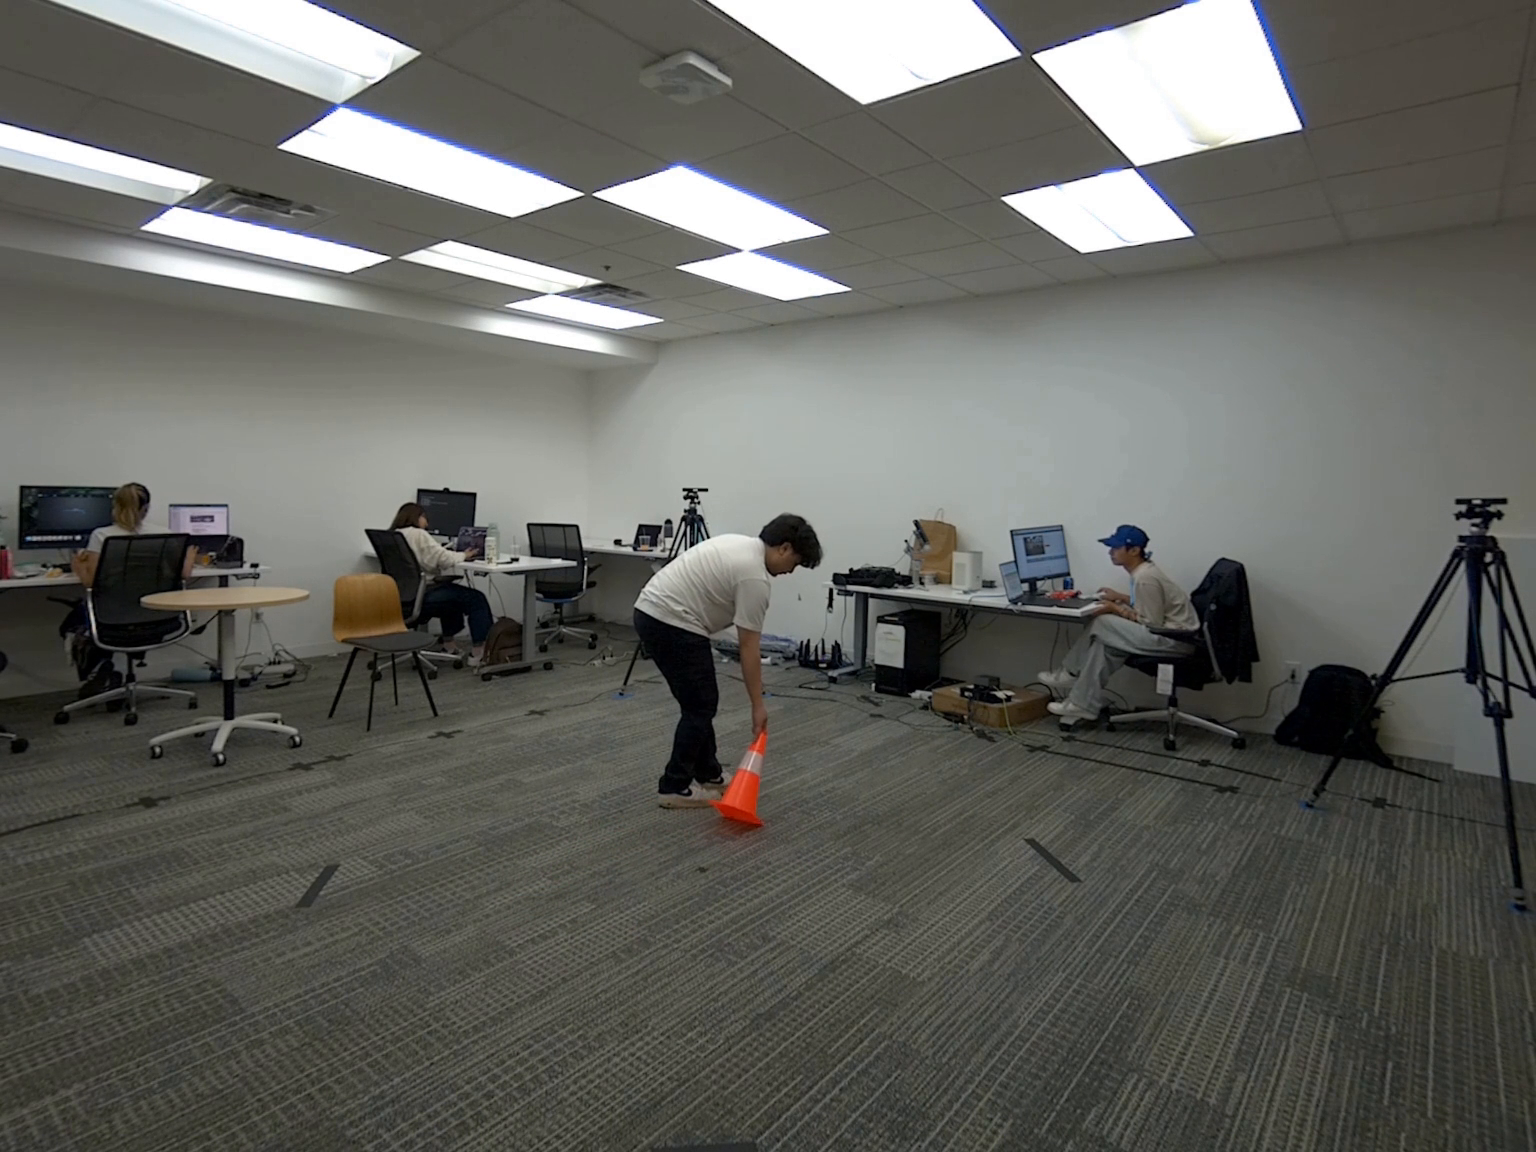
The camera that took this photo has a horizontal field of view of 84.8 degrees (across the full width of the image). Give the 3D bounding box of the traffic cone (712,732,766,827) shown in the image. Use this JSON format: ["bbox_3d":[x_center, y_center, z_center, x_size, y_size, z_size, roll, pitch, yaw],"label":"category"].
[{"bbox_3d":[-0.083,0.818,3.592,0.211,0.388,0.195,9,-26,24],"label":"traffic cone"}]
